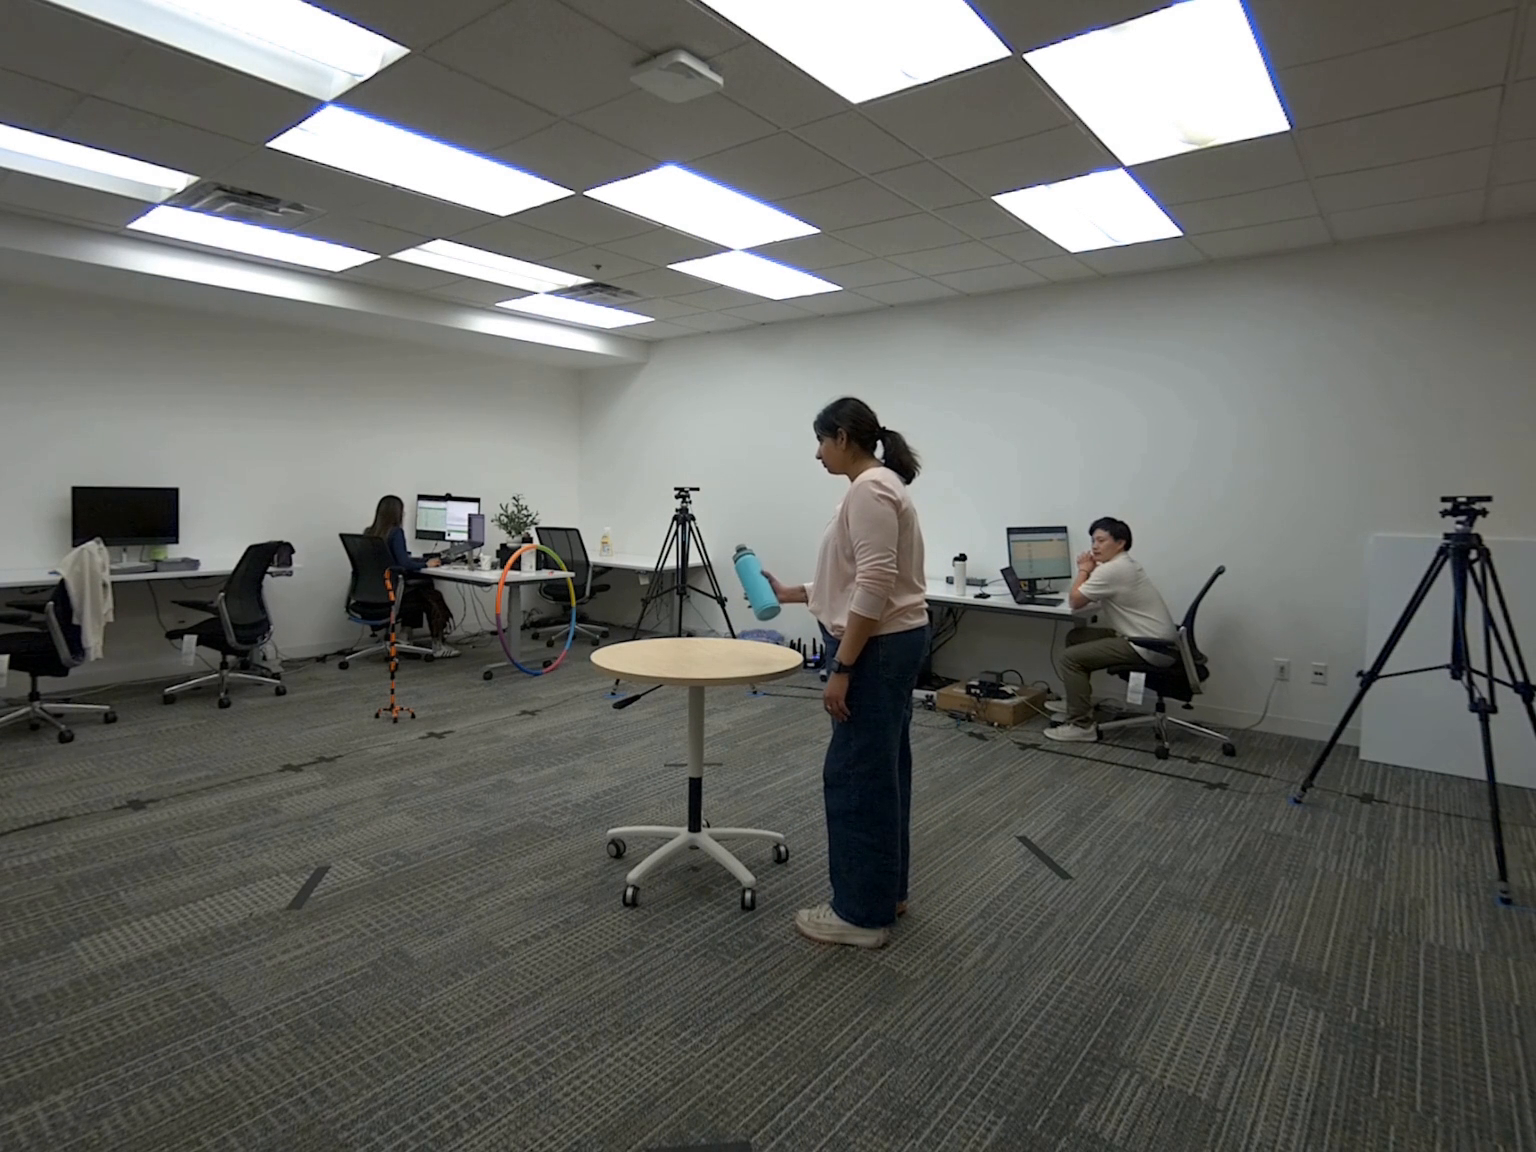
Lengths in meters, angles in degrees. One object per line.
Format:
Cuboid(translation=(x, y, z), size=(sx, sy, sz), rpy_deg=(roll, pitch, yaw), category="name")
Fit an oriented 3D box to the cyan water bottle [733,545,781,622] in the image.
Cuboid(translation=(-0.053, 0.026, 2.945), size=(0.091, 0.293, 0.090), rpy_deg=(-15, -33, -12), category="cyan water bottle")
